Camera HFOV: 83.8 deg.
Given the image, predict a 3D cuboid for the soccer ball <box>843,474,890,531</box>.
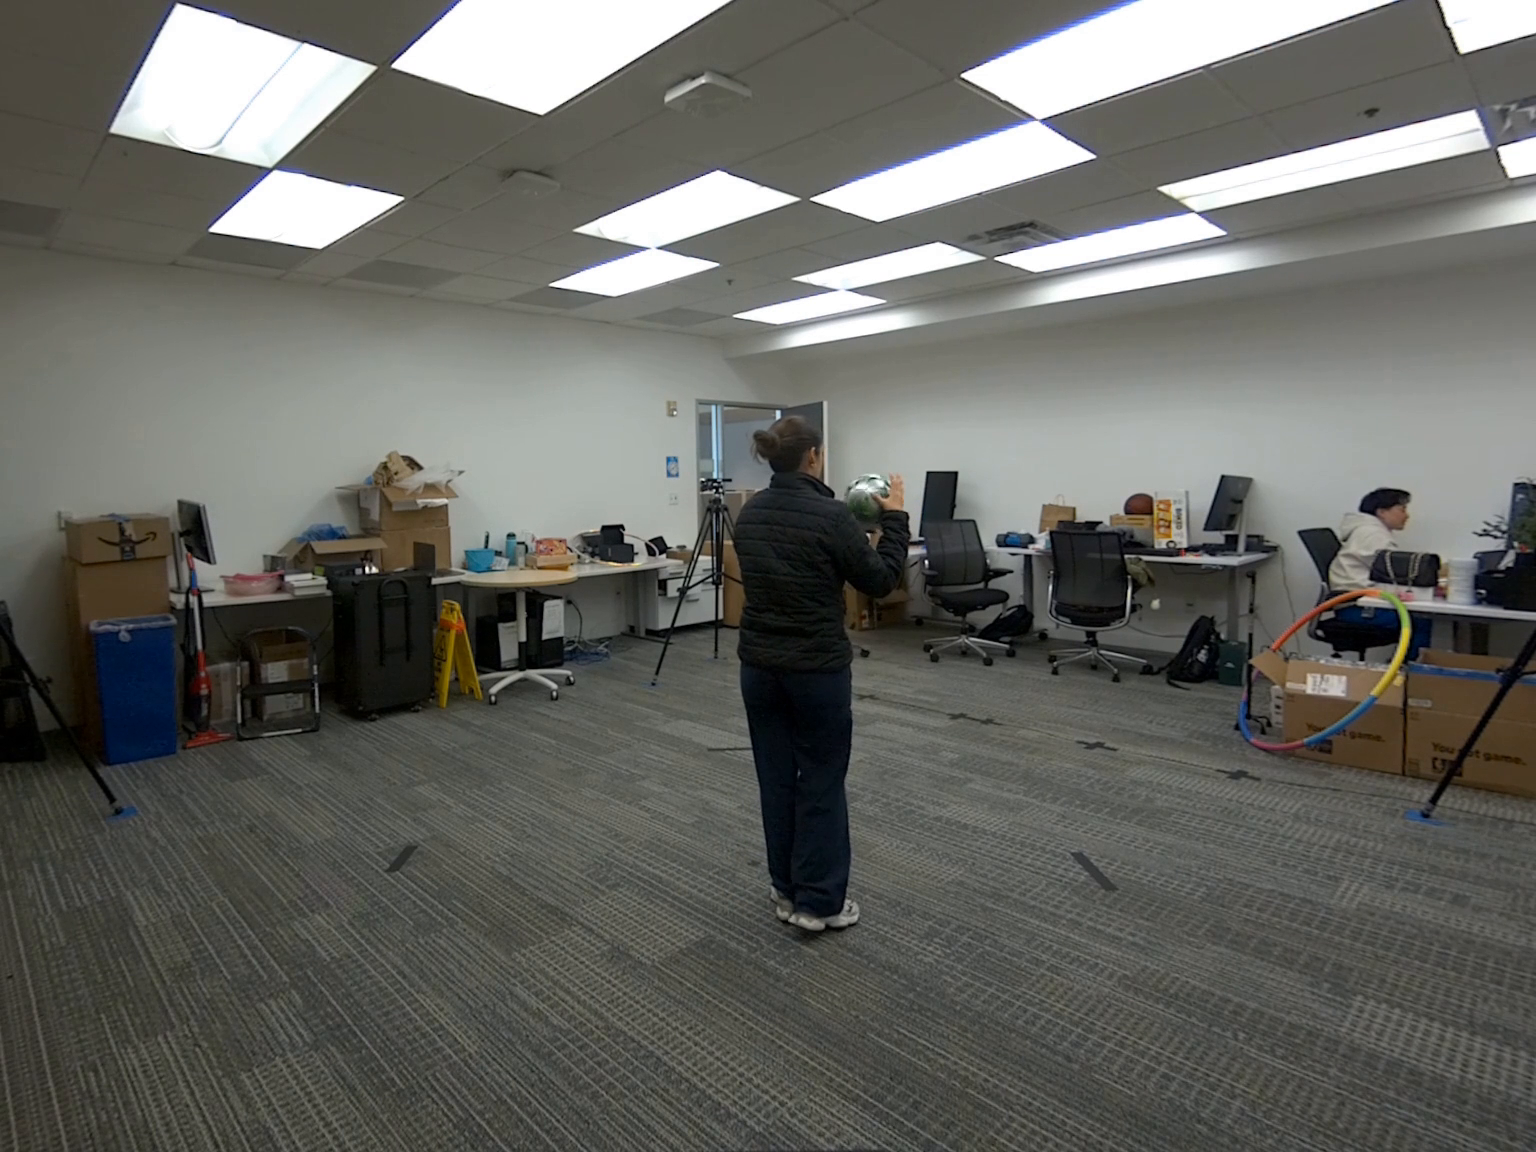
[{"bbox_3d":[0.352,-0.249,2.831,0.187,0.187,0.188,-1,5,-2],"label":"soccer ball"}]
